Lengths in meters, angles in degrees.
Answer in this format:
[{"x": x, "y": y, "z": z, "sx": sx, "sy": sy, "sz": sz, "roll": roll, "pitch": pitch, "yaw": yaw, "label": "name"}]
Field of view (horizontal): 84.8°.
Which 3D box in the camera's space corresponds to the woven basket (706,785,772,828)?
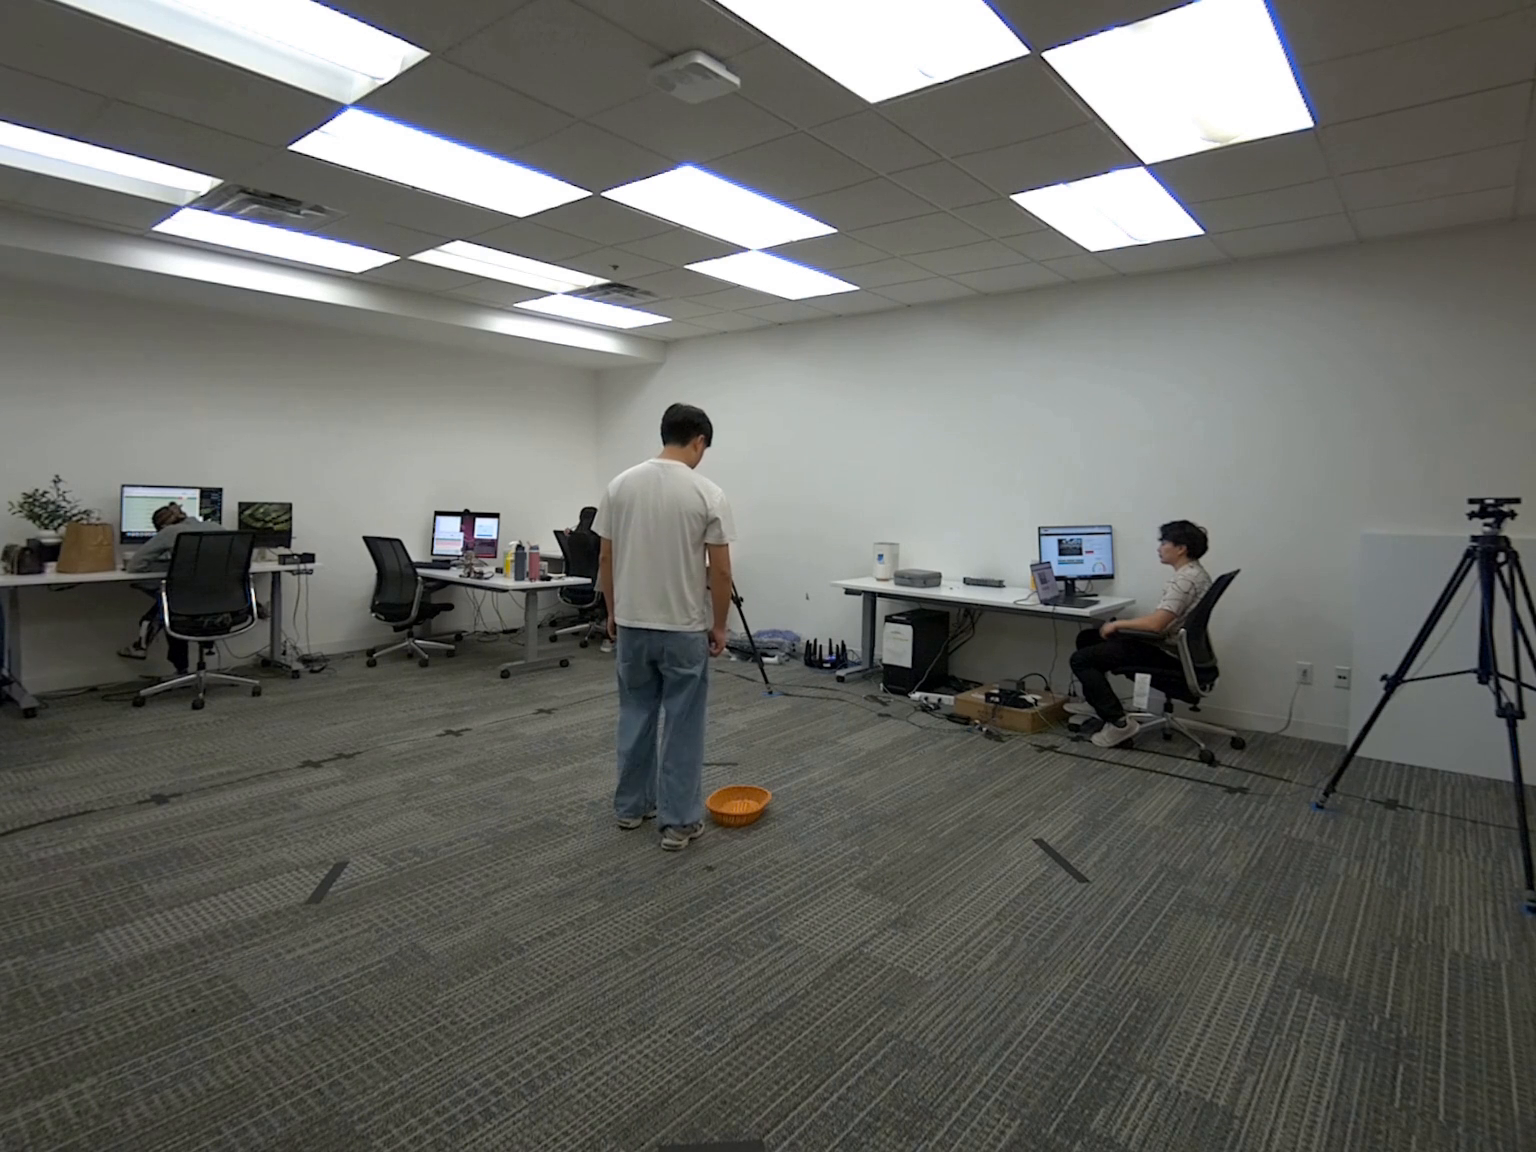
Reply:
[{"x": -0.138, "y": 0.982, "z": 3.629, "sx": 0.259, "sy": 0.073, "sz": 0.342, "roll": 5, "pitch": 8, "yaw": 27, "label": "woven basket"}]
